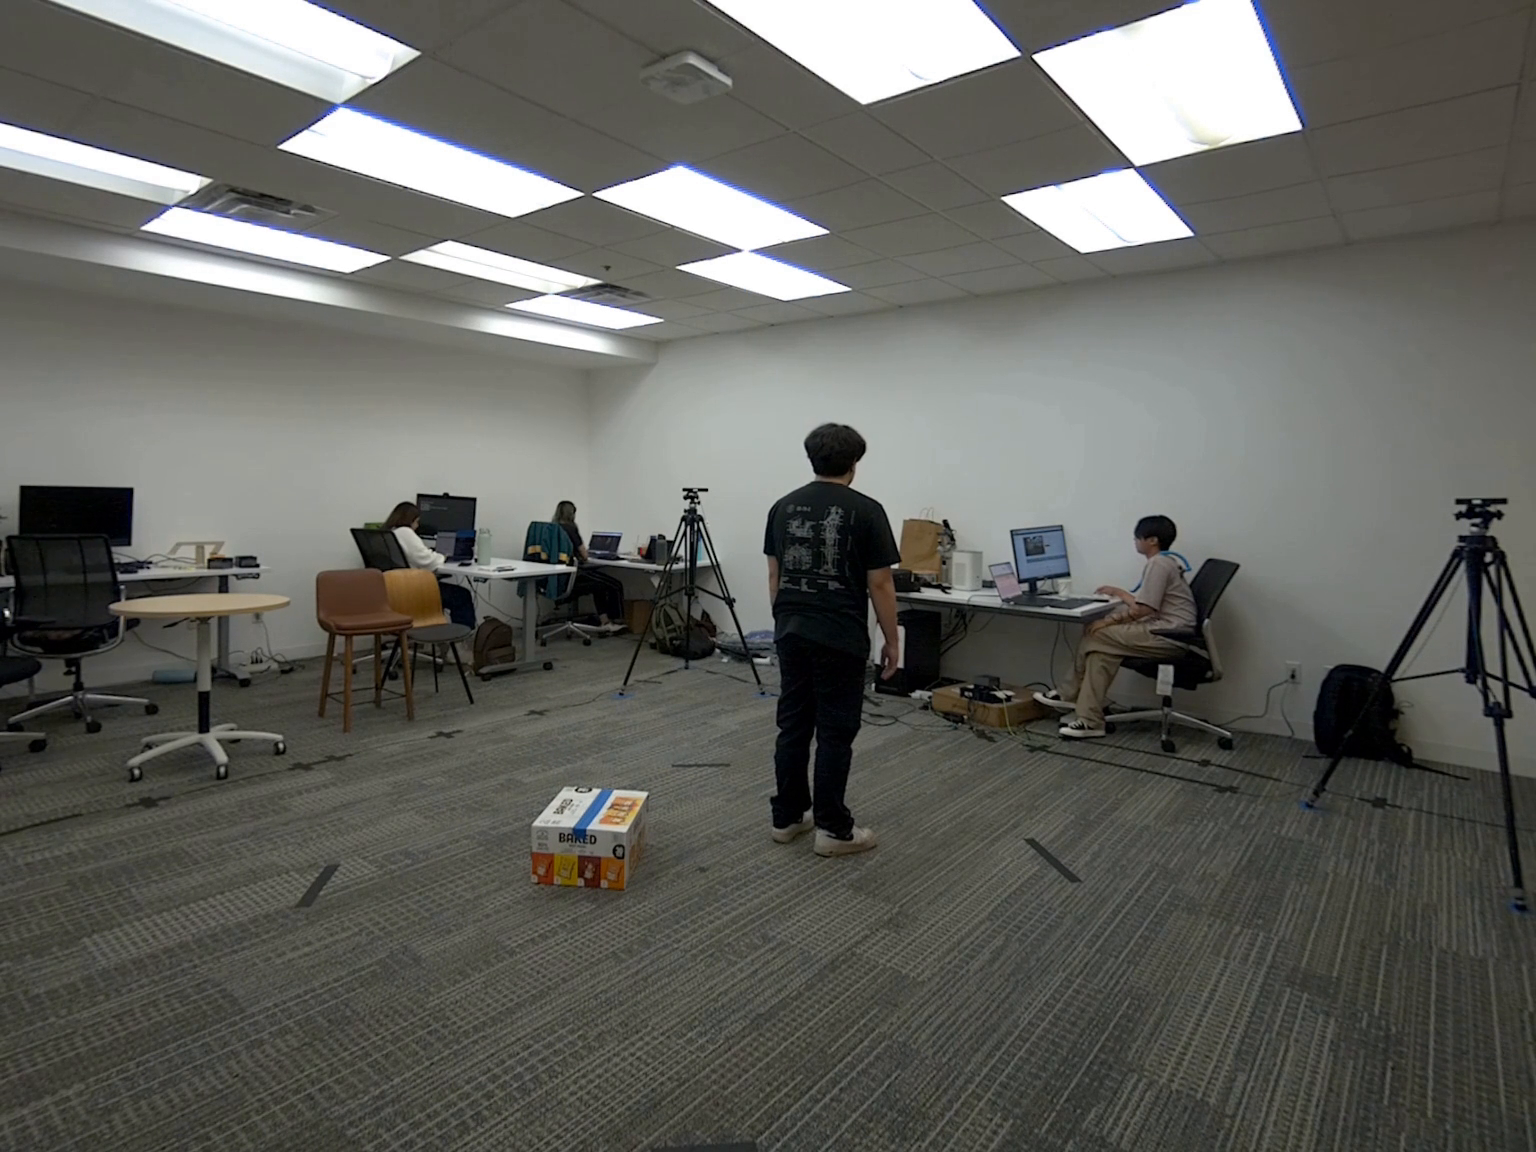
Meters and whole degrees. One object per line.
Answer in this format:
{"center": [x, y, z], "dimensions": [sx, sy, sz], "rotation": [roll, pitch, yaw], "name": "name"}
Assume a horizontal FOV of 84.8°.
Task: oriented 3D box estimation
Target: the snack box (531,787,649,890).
{"center": [-0.659, 0.955, 3.144], "dimensions": [0.343, 0.205, 0.404], "rotation": [2, 5, 5], "name": "snack box"}
